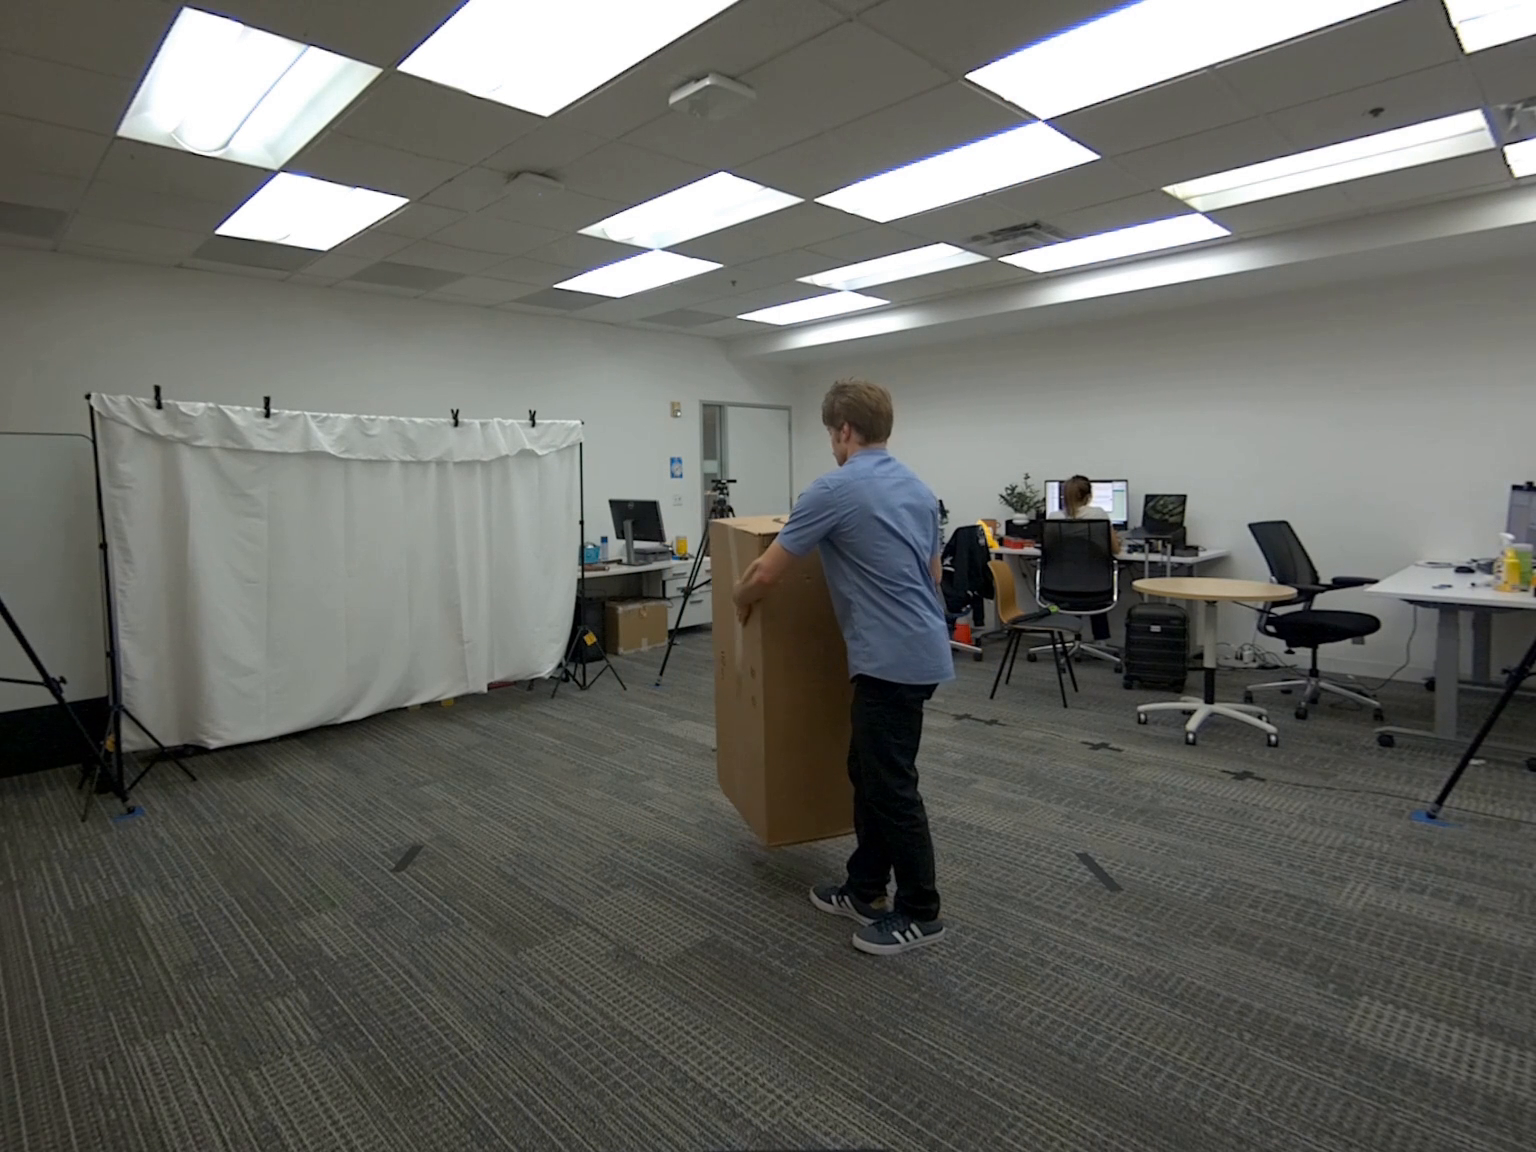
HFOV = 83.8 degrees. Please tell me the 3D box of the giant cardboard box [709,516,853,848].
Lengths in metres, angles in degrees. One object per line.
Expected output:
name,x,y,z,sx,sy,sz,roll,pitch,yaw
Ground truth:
giant cardboard box,0.081,0.323,3.023,0.440,1.021,0.596,-3,6,-17
